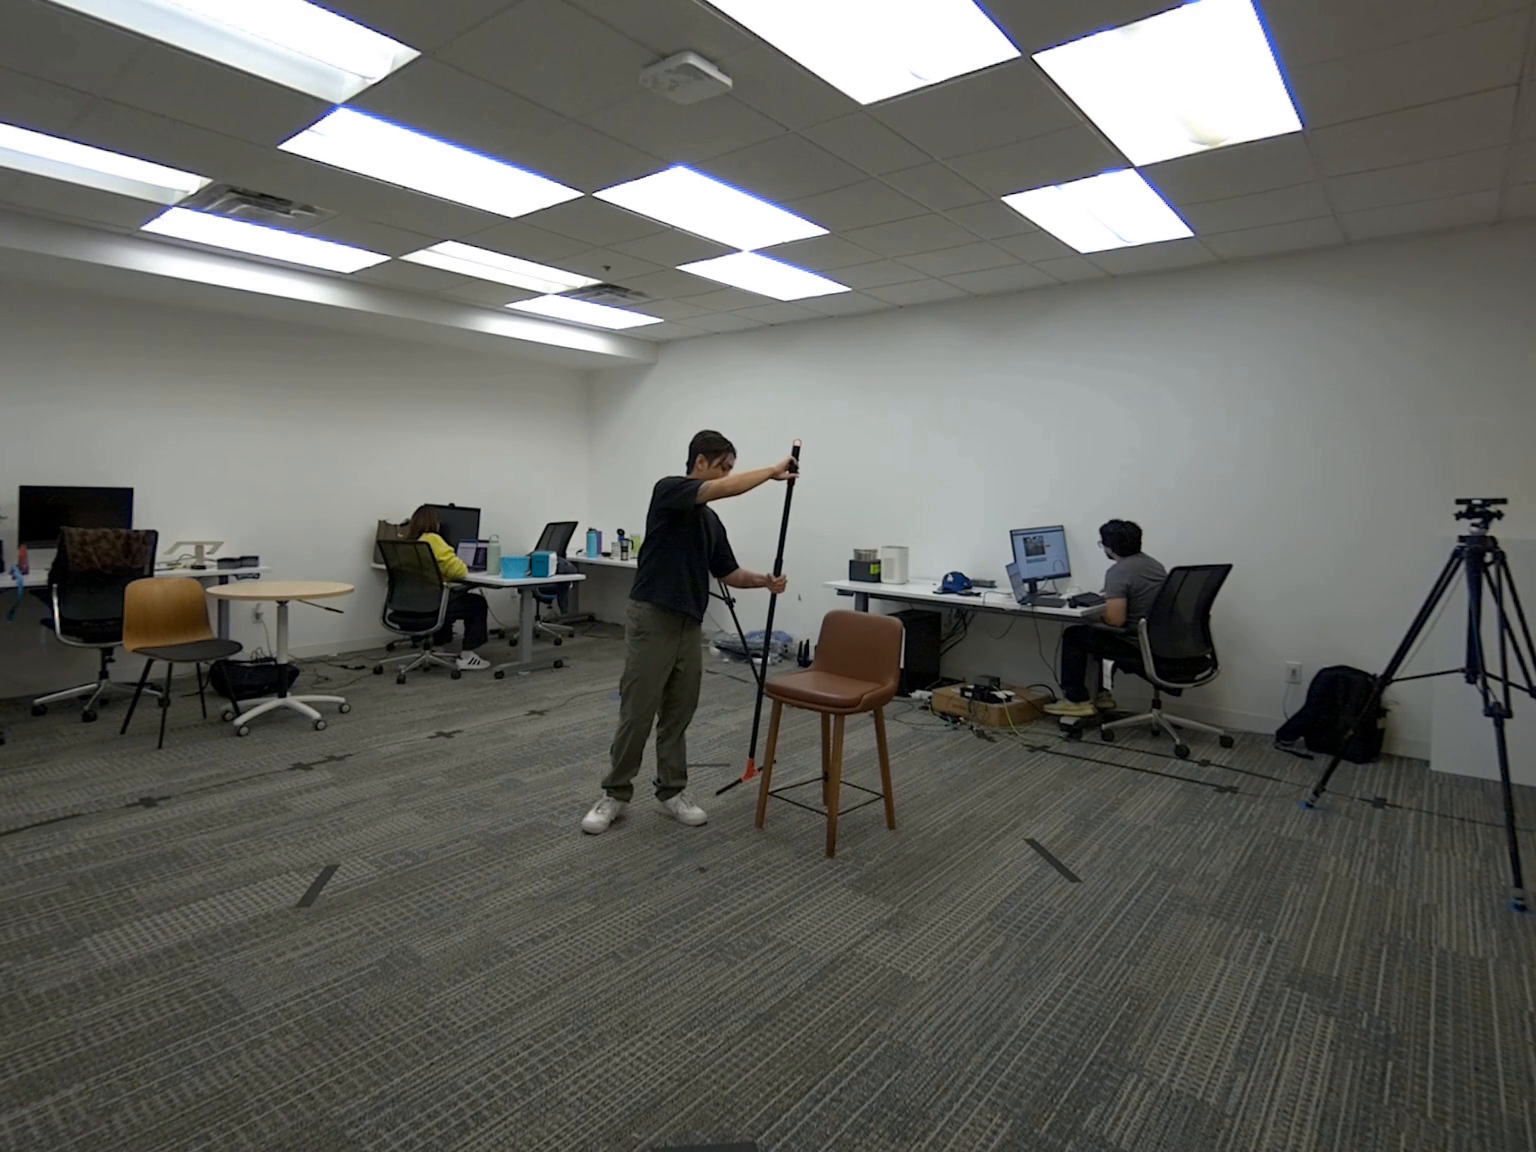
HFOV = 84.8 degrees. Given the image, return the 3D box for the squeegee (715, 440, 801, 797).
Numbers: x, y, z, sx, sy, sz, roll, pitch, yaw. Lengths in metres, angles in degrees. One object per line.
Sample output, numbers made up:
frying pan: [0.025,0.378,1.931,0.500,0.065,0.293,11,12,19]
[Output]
squeegee: [0.005,0.185,3.603,0.054,1.525,0.429,13,11,22]
